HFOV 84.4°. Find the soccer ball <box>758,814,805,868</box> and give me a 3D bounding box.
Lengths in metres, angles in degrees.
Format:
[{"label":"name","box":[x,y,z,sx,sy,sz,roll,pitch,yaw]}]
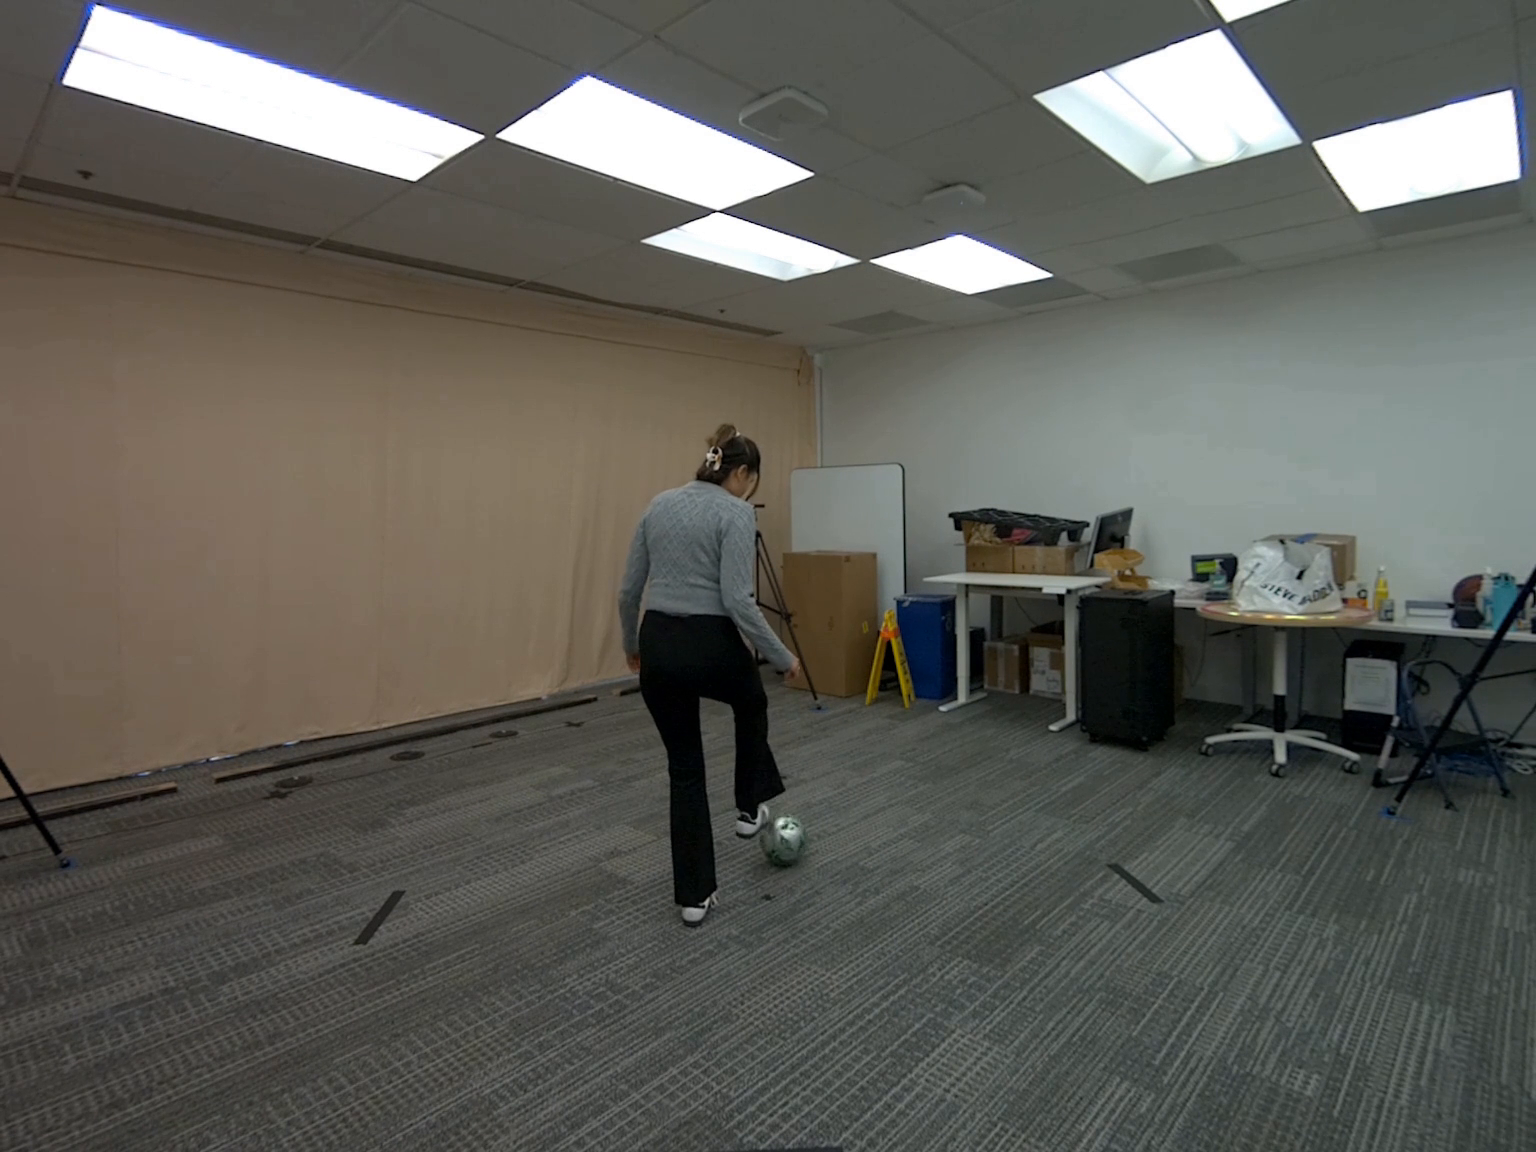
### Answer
[{"label":"soccer ball","box":[0.069,1.016,3.245,0.187,0.187,0.188,-1,4,-2]}]
